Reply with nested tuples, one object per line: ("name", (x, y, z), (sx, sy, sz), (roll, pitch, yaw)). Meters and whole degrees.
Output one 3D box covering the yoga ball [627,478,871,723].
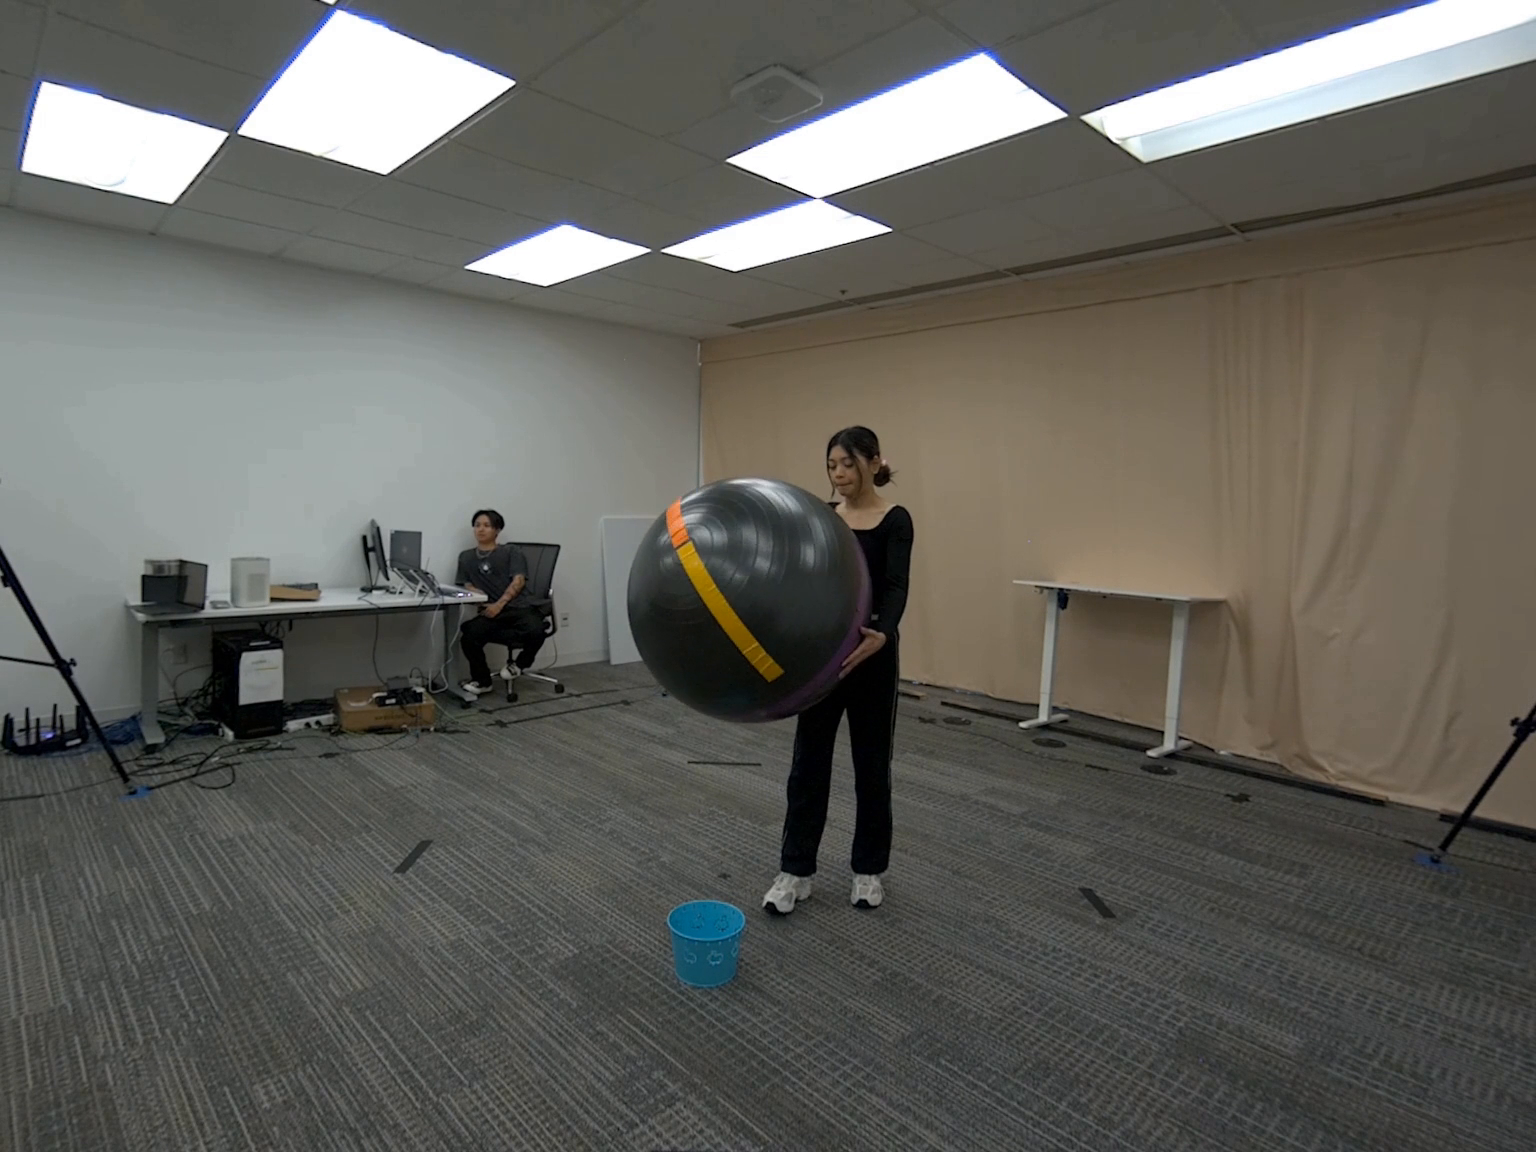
("yoga ball", (-0.064, 0.076, 2.591), (0.757, 0.756, 0.761), (1, 4, -1))
